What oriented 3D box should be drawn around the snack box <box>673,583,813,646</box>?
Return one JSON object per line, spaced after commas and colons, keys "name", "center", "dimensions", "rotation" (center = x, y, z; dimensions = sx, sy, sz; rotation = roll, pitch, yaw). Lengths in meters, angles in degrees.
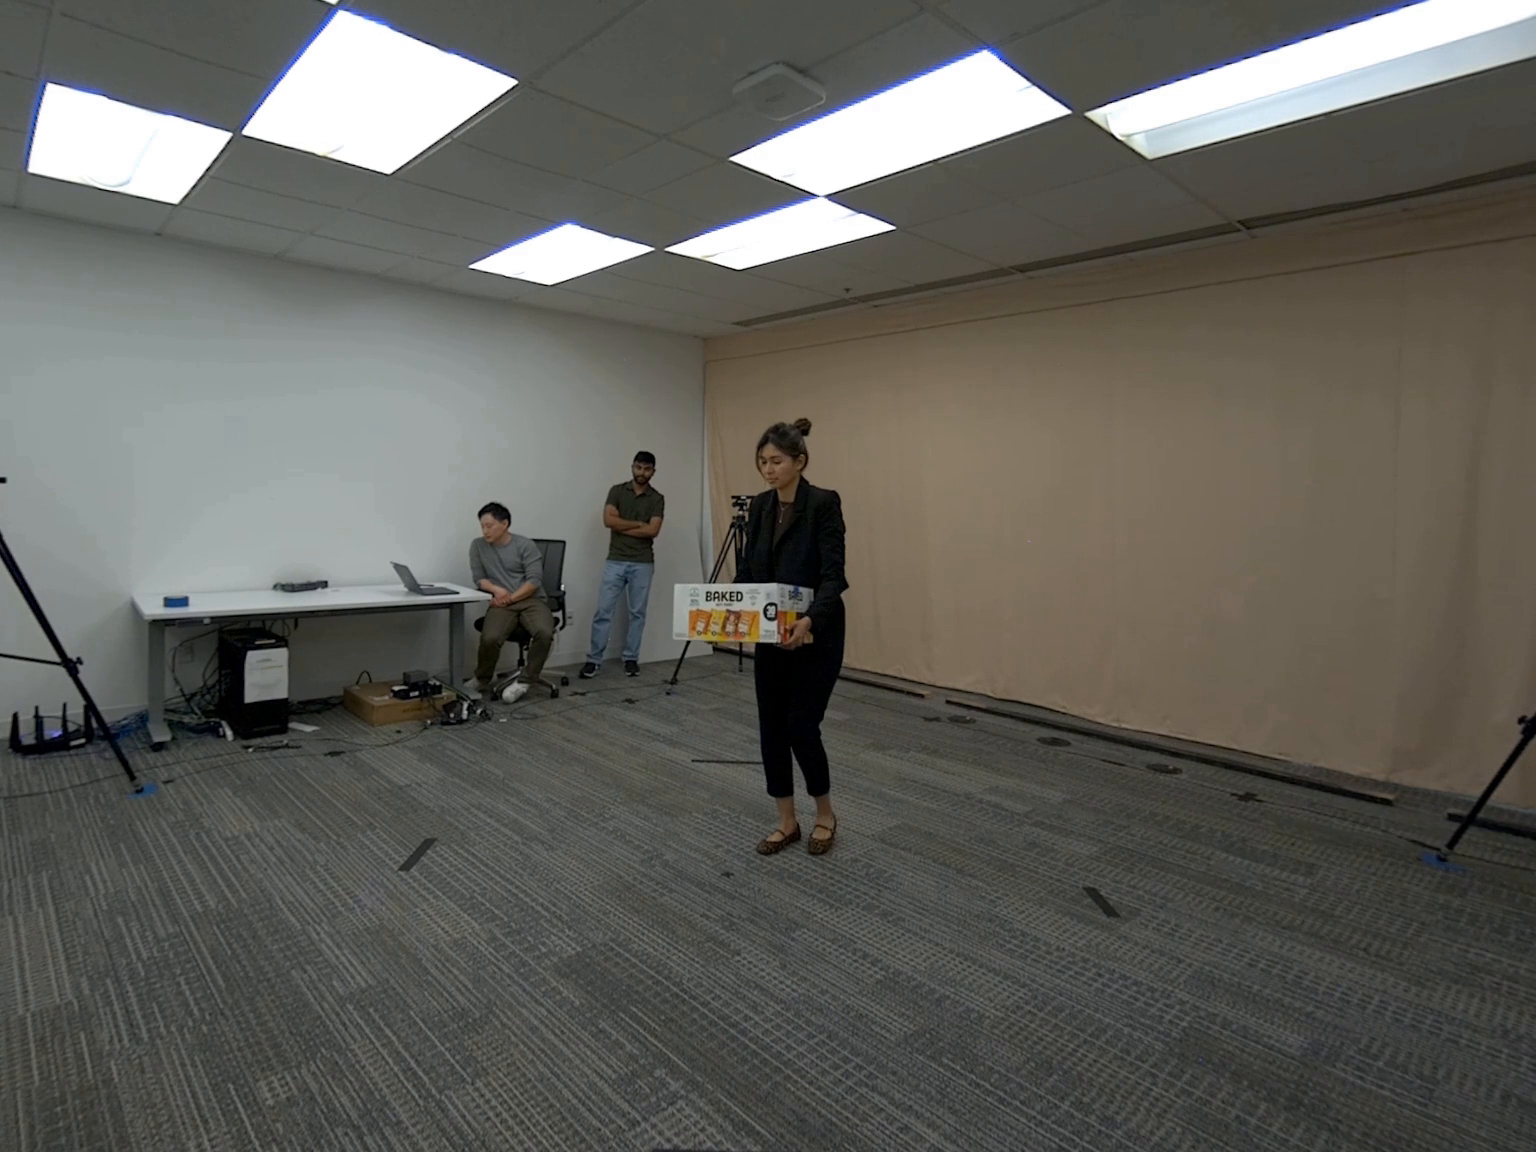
{"name": "snack box", "center": [-0.090, 0.150, 3.069], "dimensions": [0.412, 0.206, 0.333], "rotation": [-1, -5, 25]}
